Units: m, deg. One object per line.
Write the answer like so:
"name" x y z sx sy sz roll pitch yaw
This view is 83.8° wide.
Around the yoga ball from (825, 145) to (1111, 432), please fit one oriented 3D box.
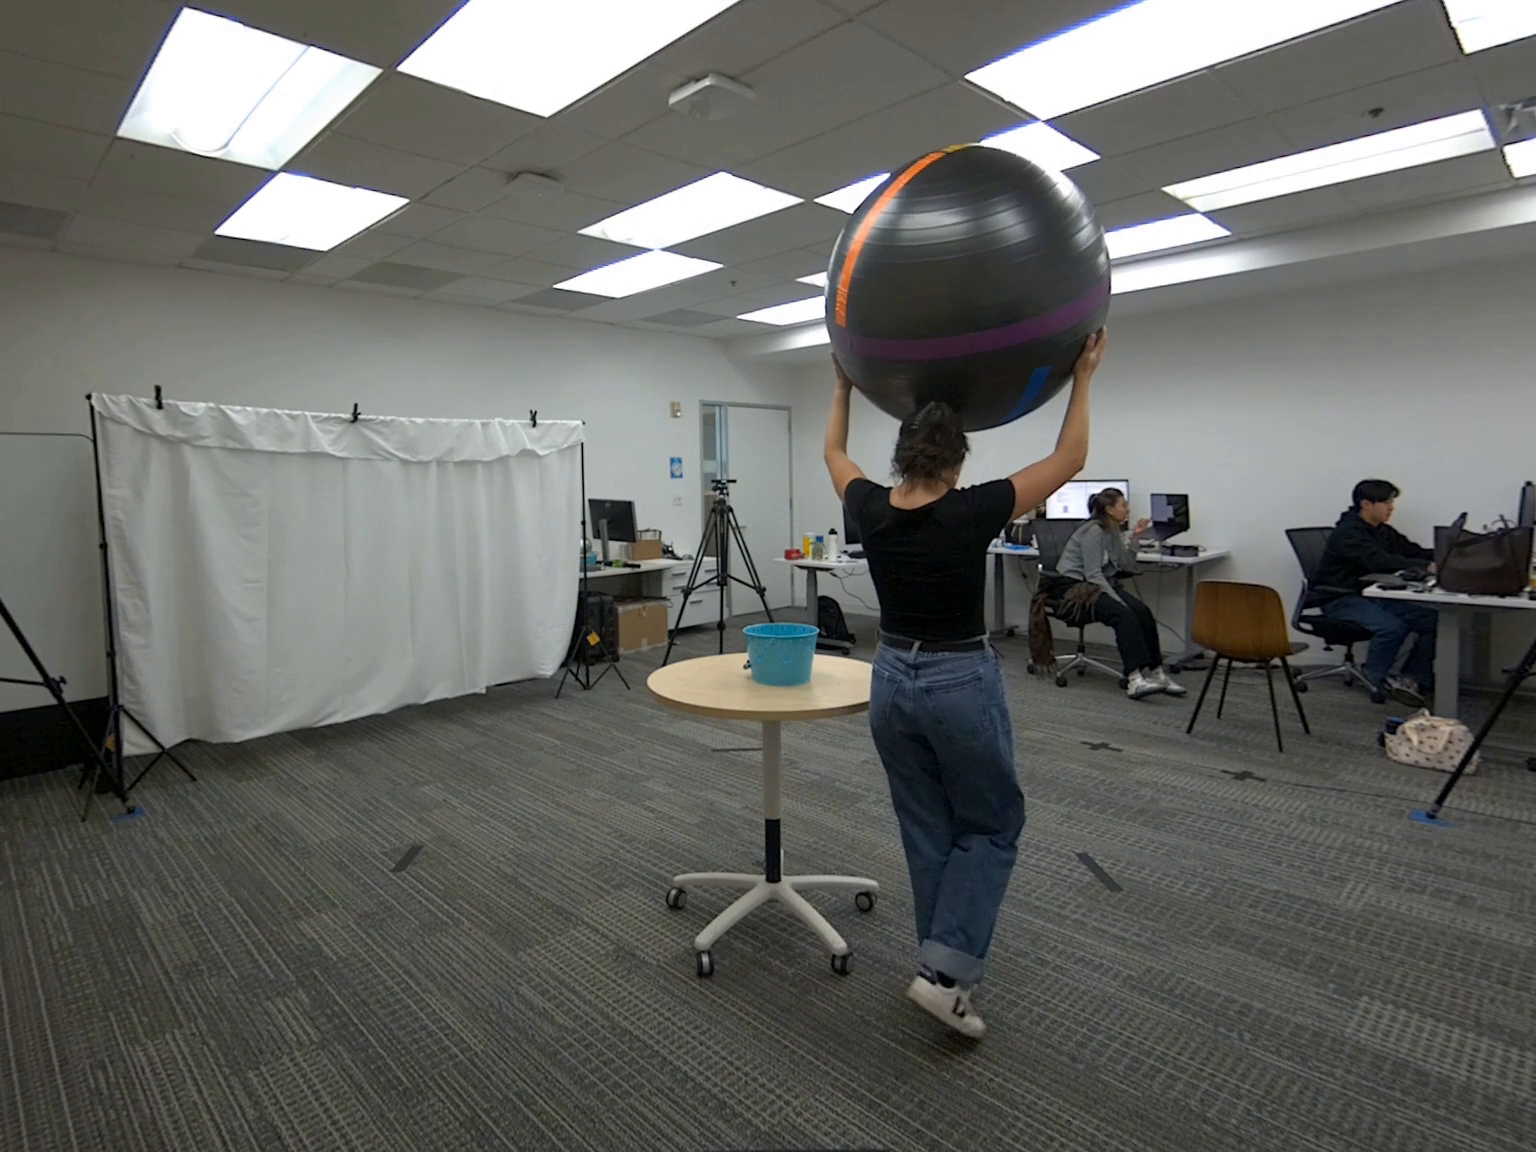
"yoga ball" 0.539 -0.772 2.355 0.757 0.755 0.762 -1 5 -2
